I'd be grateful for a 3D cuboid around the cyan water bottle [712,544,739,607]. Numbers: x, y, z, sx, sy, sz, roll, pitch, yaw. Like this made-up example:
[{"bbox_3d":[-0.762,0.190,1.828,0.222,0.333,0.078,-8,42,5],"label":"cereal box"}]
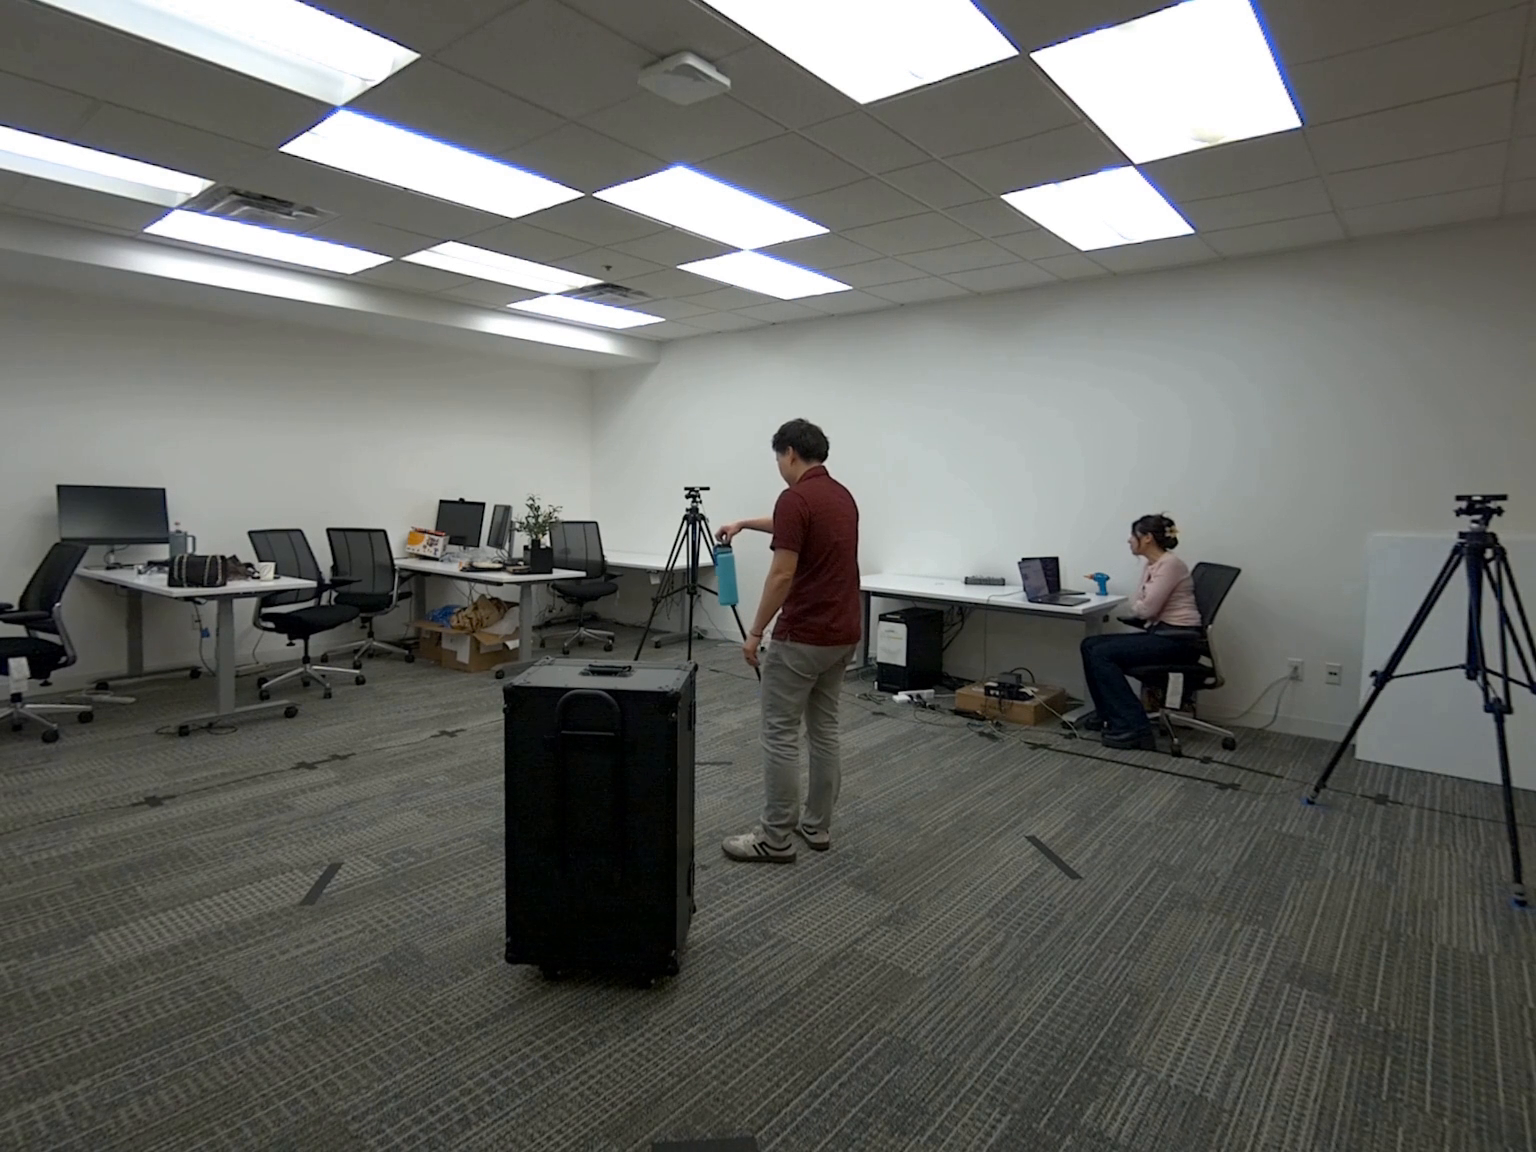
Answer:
[{"bbox_3d":[-0.201,-0.016,3.759,0.092,0.282,0.093,-5,5,-1],"label":"cyan water bottle"}]
